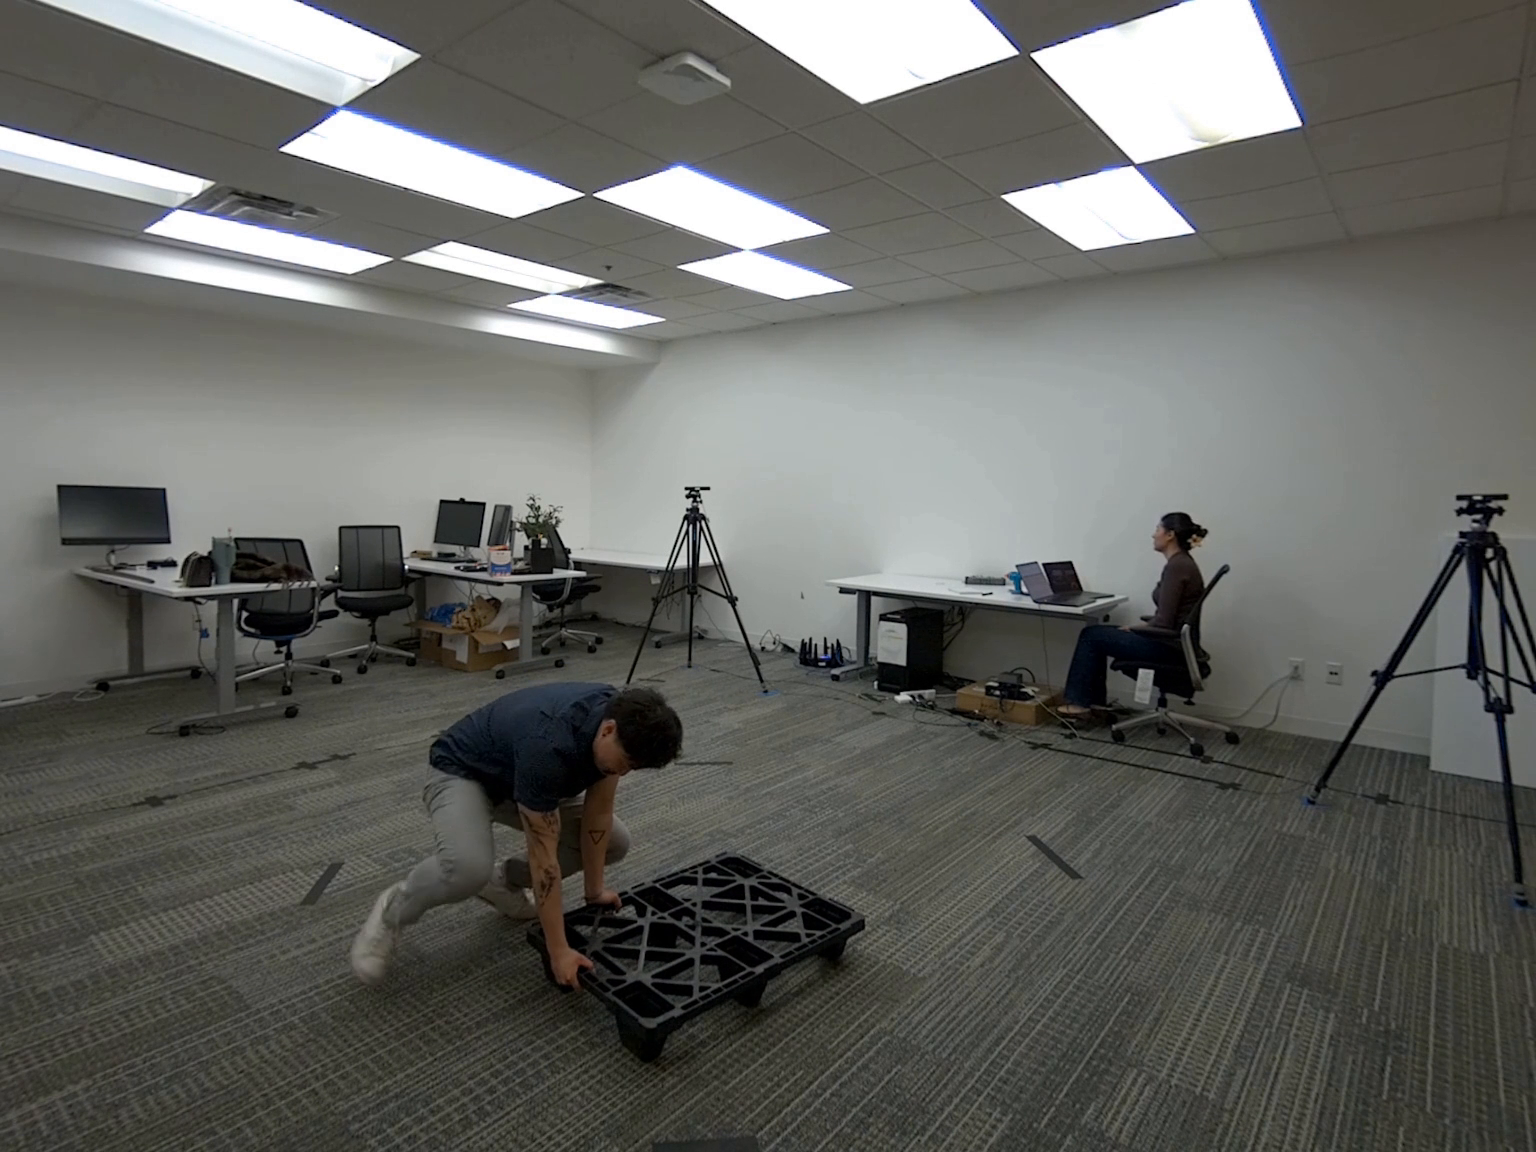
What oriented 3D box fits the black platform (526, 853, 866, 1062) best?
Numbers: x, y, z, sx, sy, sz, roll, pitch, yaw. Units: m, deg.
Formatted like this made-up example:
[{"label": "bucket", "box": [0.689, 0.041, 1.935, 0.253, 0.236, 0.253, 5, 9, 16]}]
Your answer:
[{"label": "black platform", "box": [-0.201, 1.066, 2.456, 0.782, 0.142, 0.626, -6, 9, -43]}]
